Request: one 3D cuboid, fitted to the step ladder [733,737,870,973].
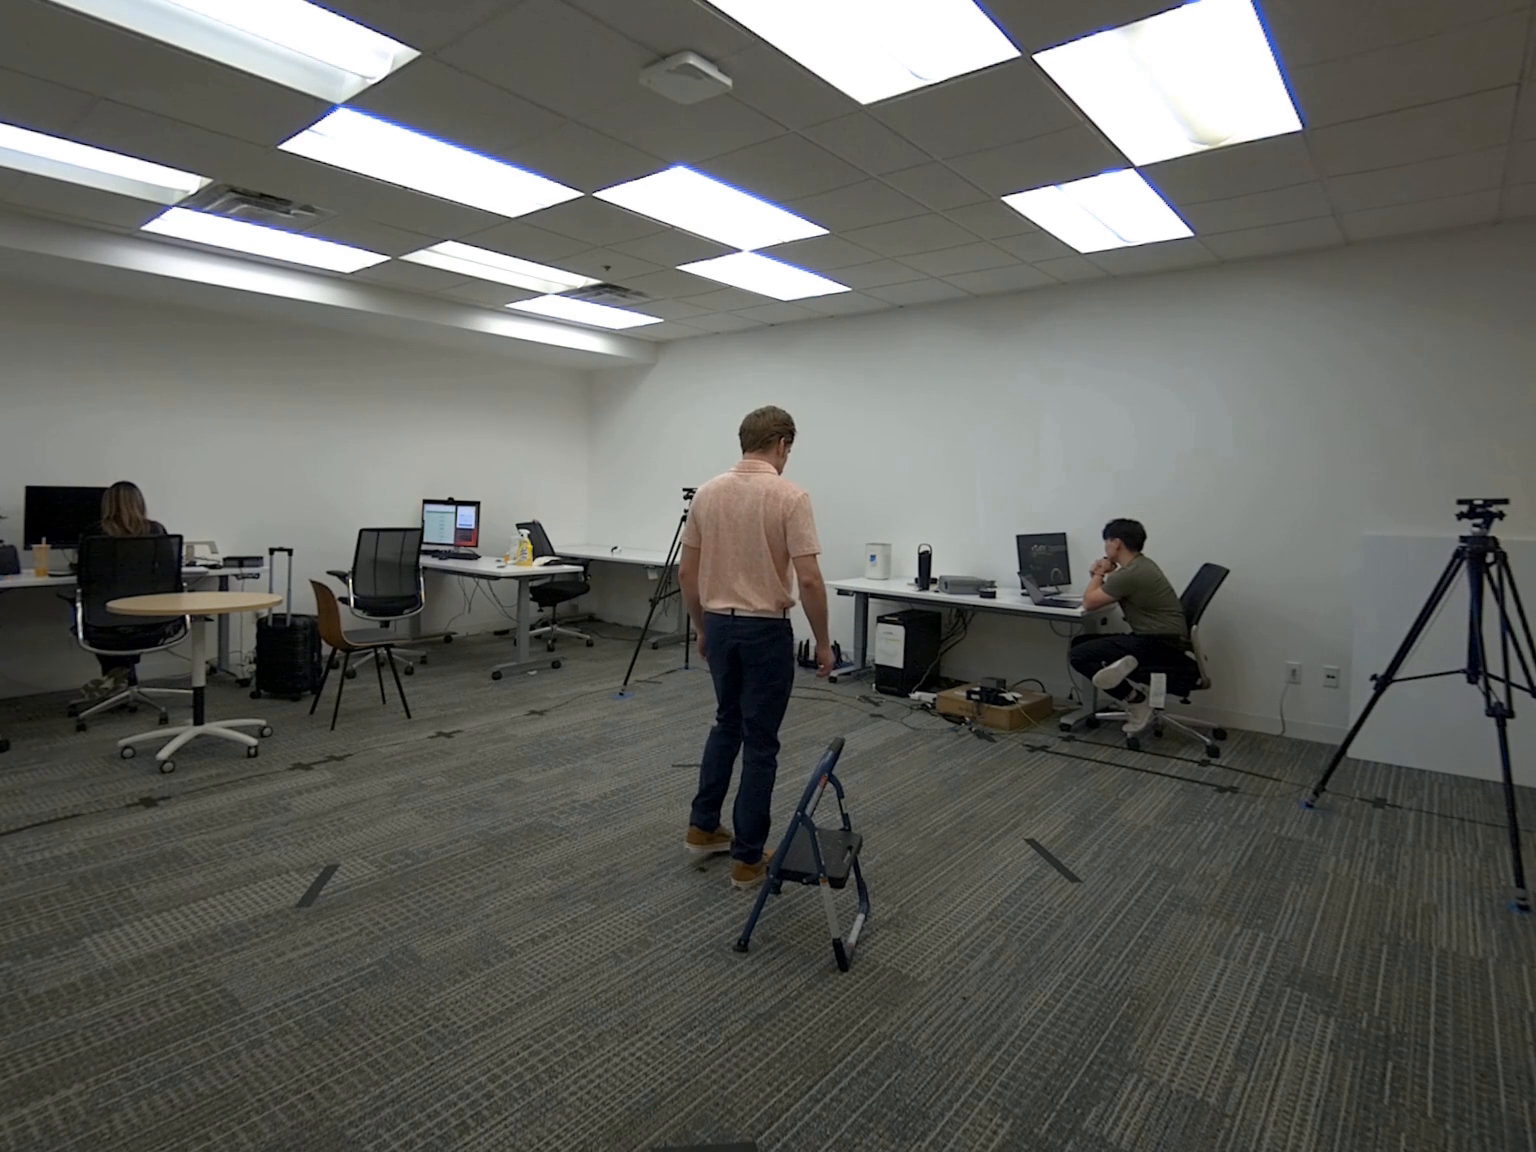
[{"bbox_3d":[0.123,0.816,2.687,0.356,0.604,0.424,2,4,16],"label":"step ladder"}]
